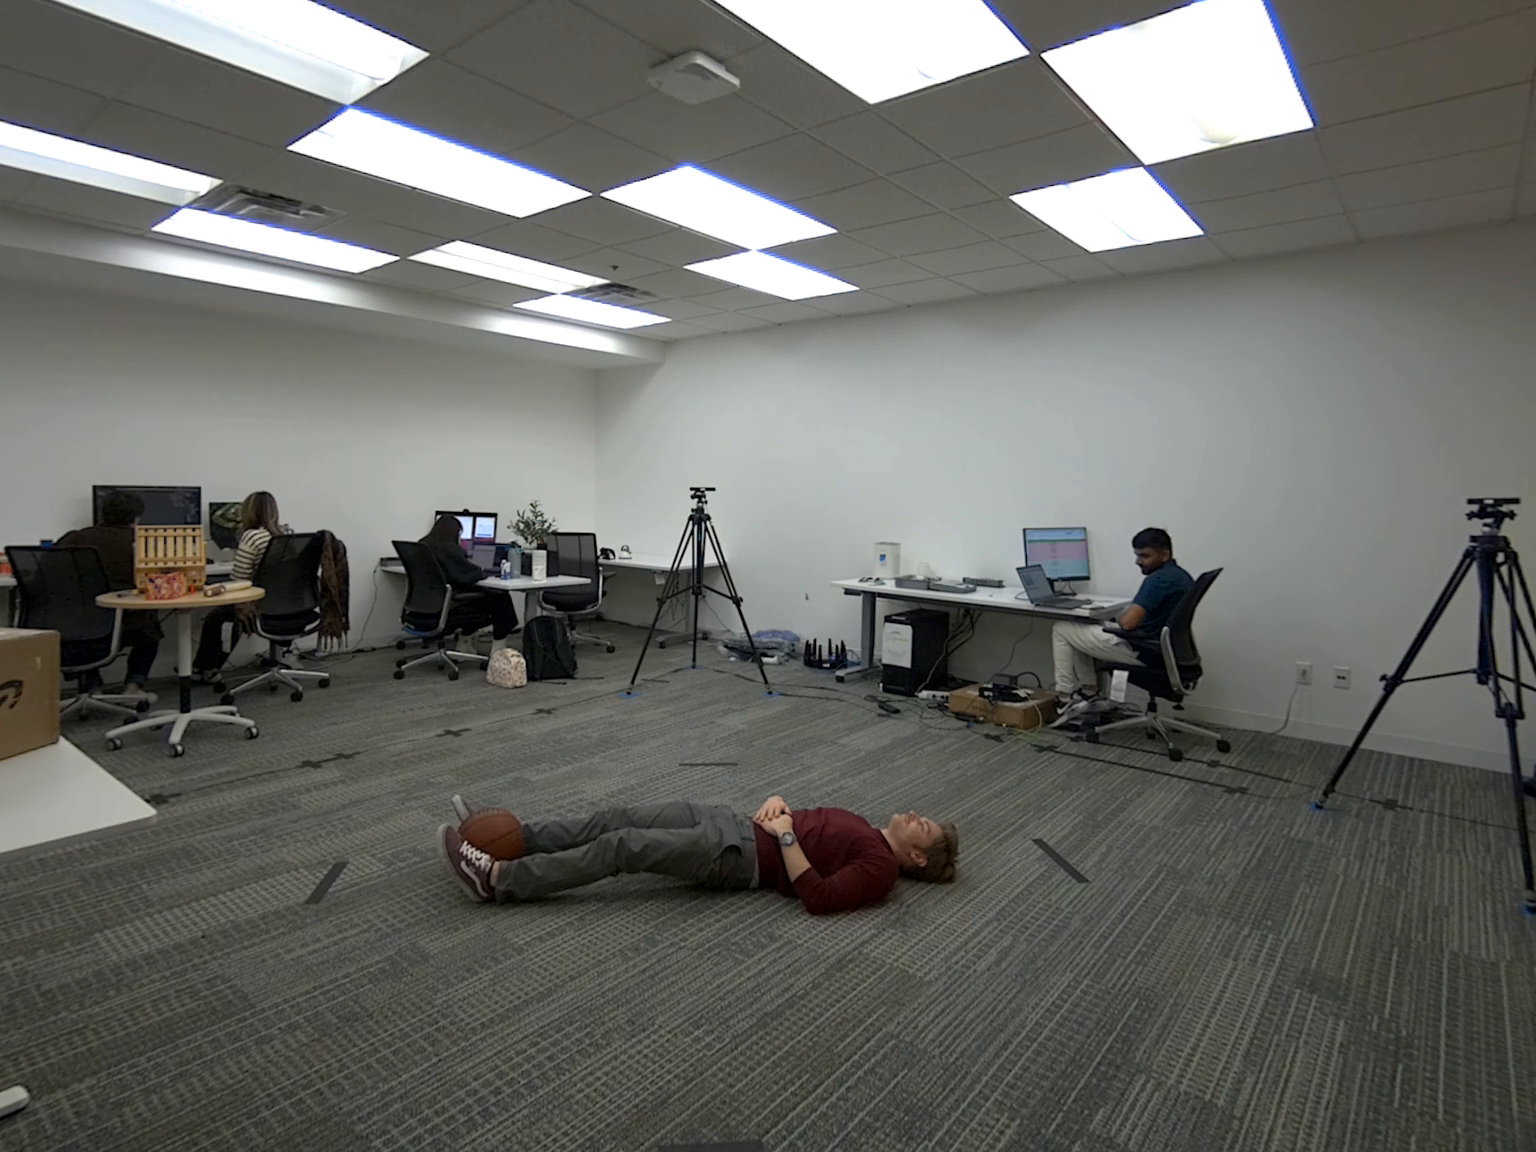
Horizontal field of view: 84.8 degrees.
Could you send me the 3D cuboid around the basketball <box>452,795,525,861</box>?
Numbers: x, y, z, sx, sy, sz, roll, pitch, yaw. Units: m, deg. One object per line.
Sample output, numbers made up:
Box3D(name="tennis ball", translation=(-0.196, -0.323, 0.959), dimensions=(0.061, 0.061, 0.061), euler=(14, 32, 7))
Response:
Box3D(name="basketball", translation=(-0.988, 0.931, 2.975), dimensions=(0.236, 0.235, 0.237), euler=(-3, 3, -2))
